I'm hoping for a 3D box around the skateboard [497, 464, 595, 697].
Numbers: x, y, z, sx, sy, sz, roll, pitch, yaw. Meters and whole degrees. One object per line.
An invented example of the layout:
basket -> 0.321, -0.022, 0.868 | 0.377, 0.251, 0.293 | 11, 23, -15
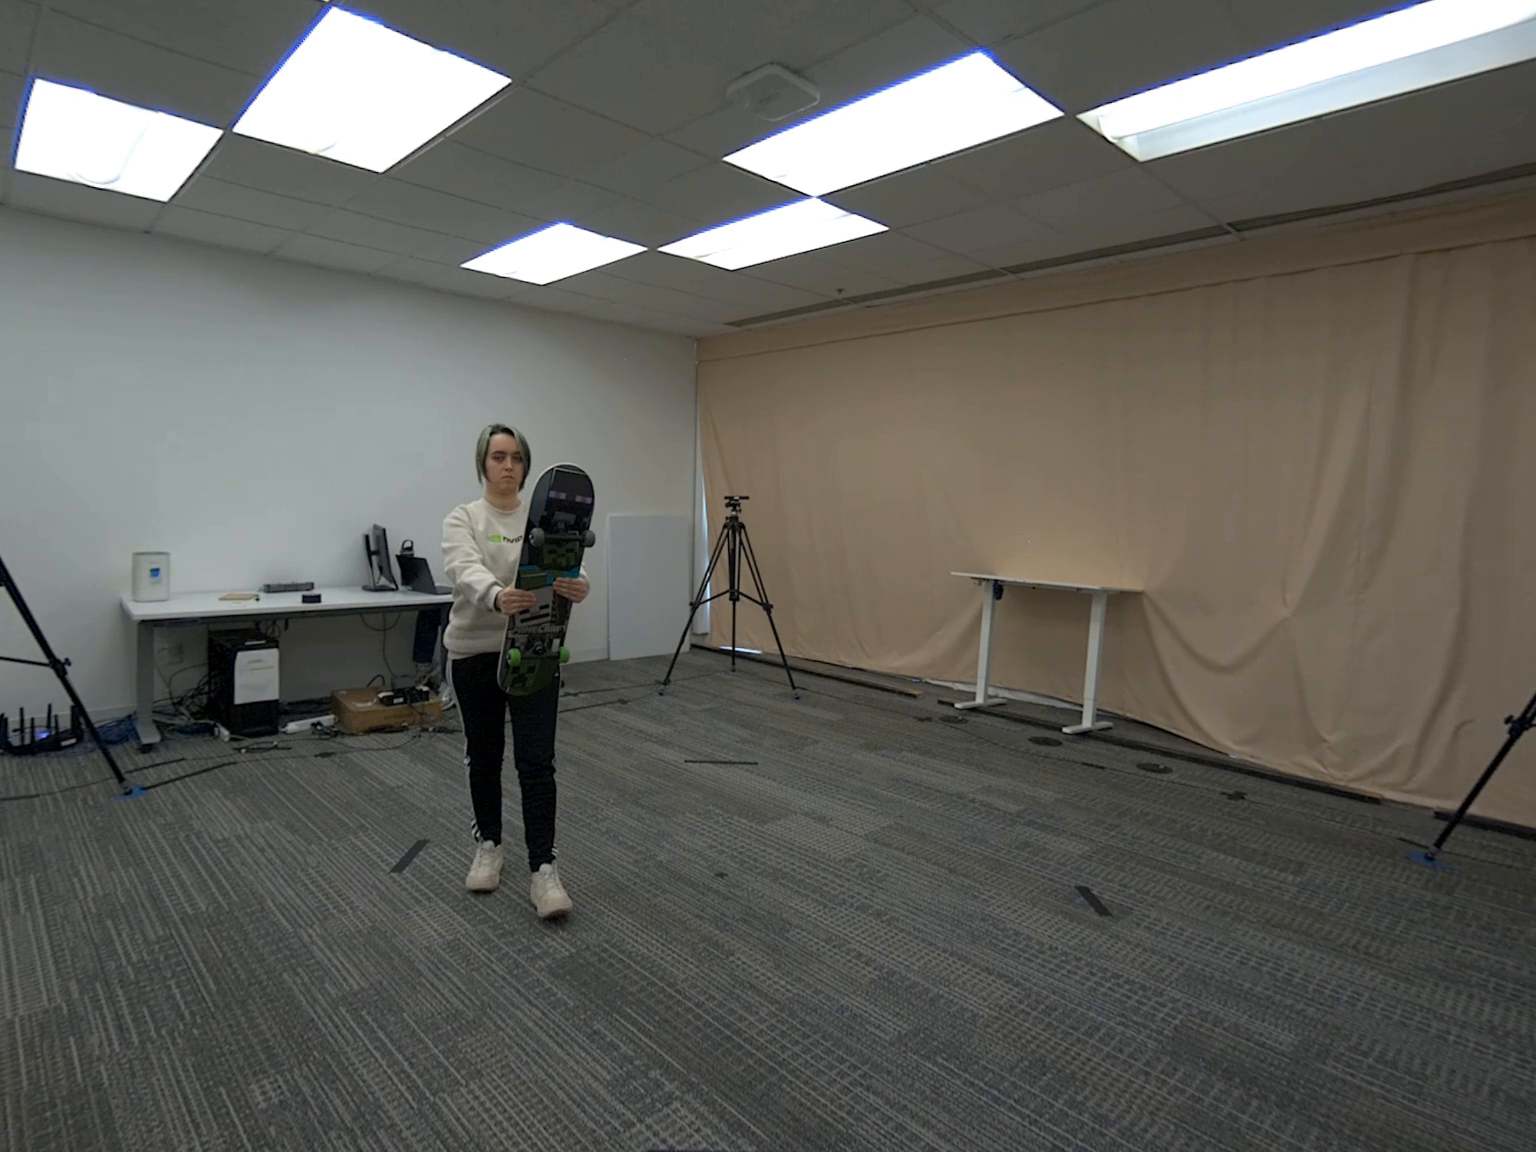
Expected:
skateboard -> -0.653, 0.052, 2.477 | 0.189, 0.777, 0.114 | 1, 27, -34
